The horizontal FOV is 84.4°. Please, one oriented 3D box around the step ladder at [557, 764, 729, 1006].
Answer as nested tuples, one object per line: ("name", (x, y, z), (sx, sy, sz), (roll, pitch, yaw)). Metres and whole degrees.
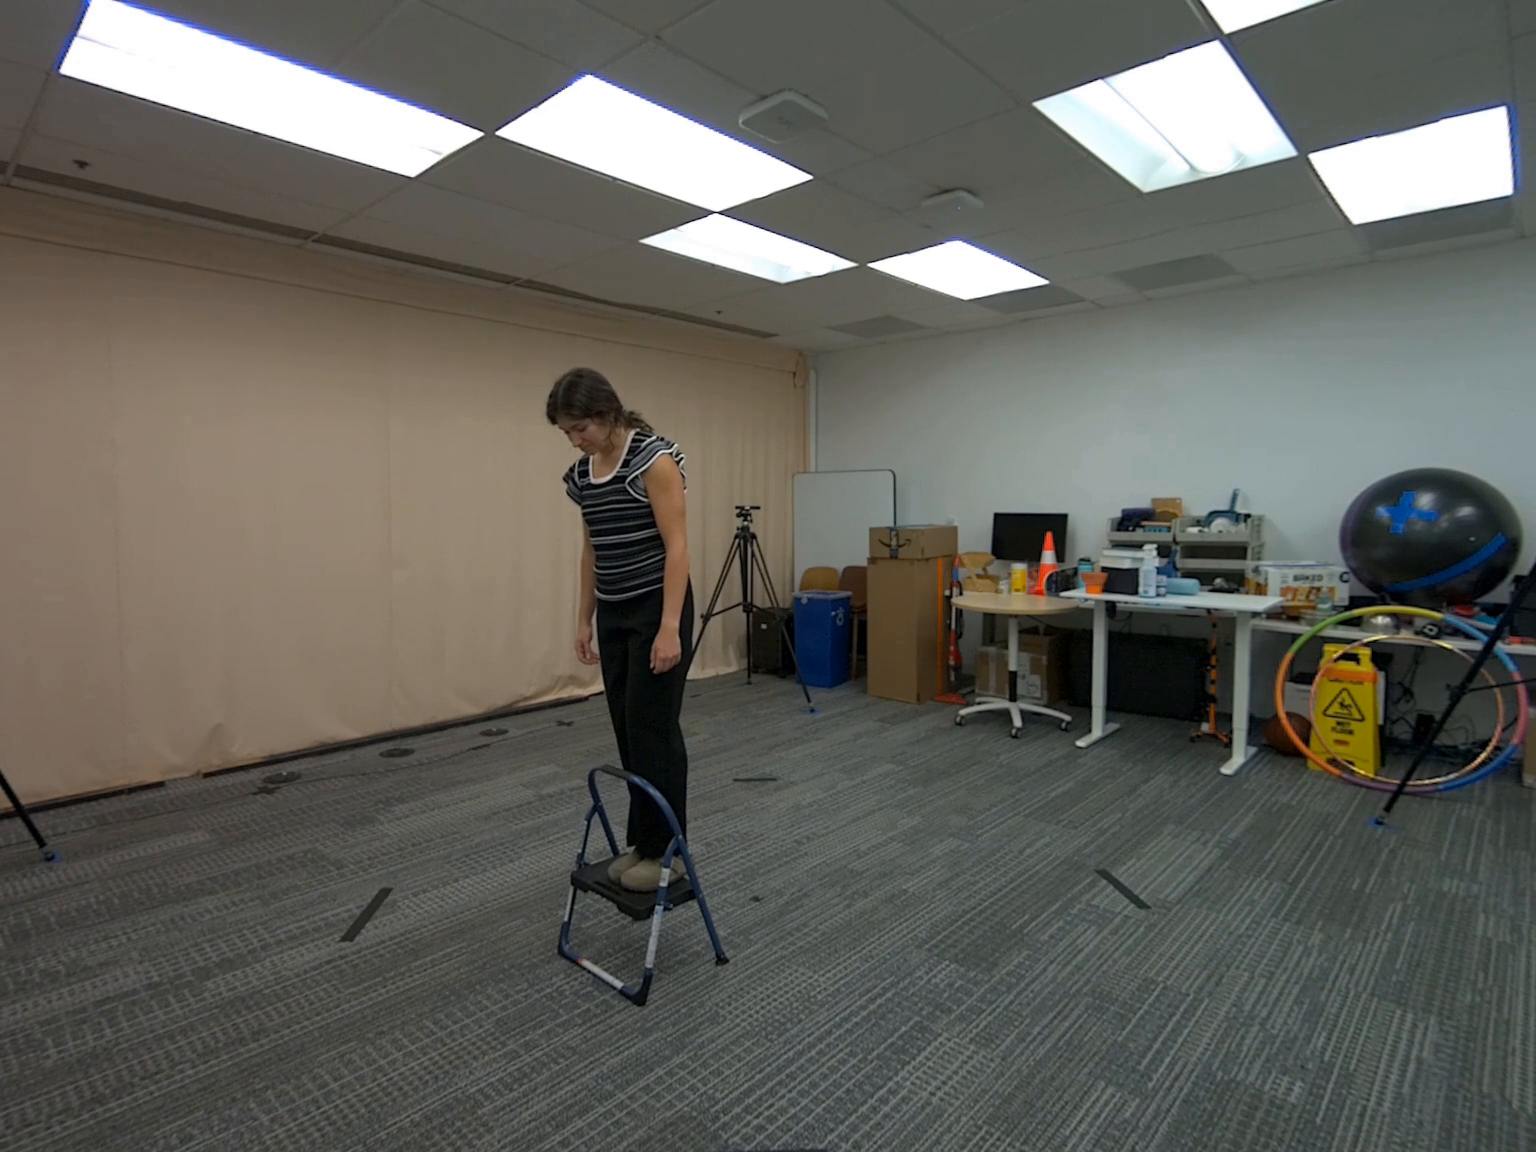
("step ladder", (-0.392, 0.879, 2.587), (0.445, 0.605, 0.338), (3, 4, 42))
